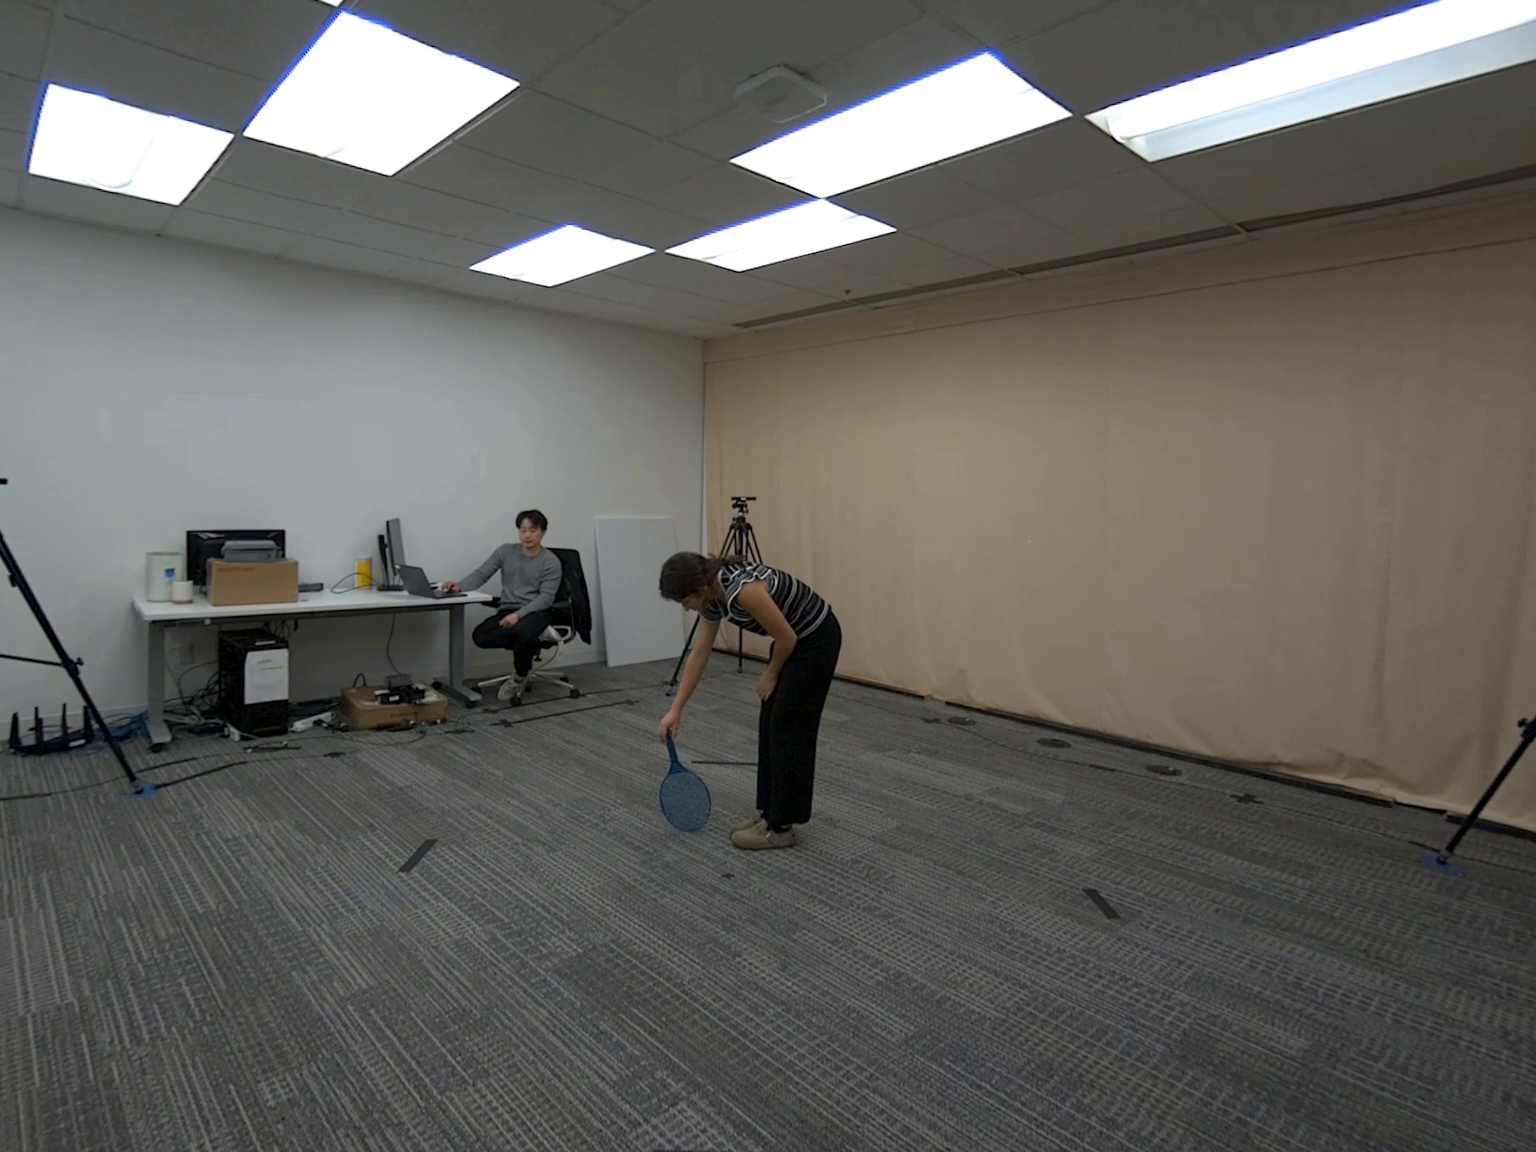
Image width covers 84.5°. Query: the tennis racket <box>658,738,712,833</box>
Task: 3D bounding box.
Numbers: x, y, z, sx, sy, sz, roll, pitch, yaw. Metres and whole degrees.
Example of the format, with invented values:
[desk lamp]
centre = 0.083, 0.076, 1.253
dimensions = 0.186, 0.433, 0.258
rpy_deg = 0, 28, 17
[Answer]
[tennis racket]
centre = -0.372, 0.852, 3.503
dimensions = 0.215, 0.433, 0.031
rpy_deg = -17, 0, 8
